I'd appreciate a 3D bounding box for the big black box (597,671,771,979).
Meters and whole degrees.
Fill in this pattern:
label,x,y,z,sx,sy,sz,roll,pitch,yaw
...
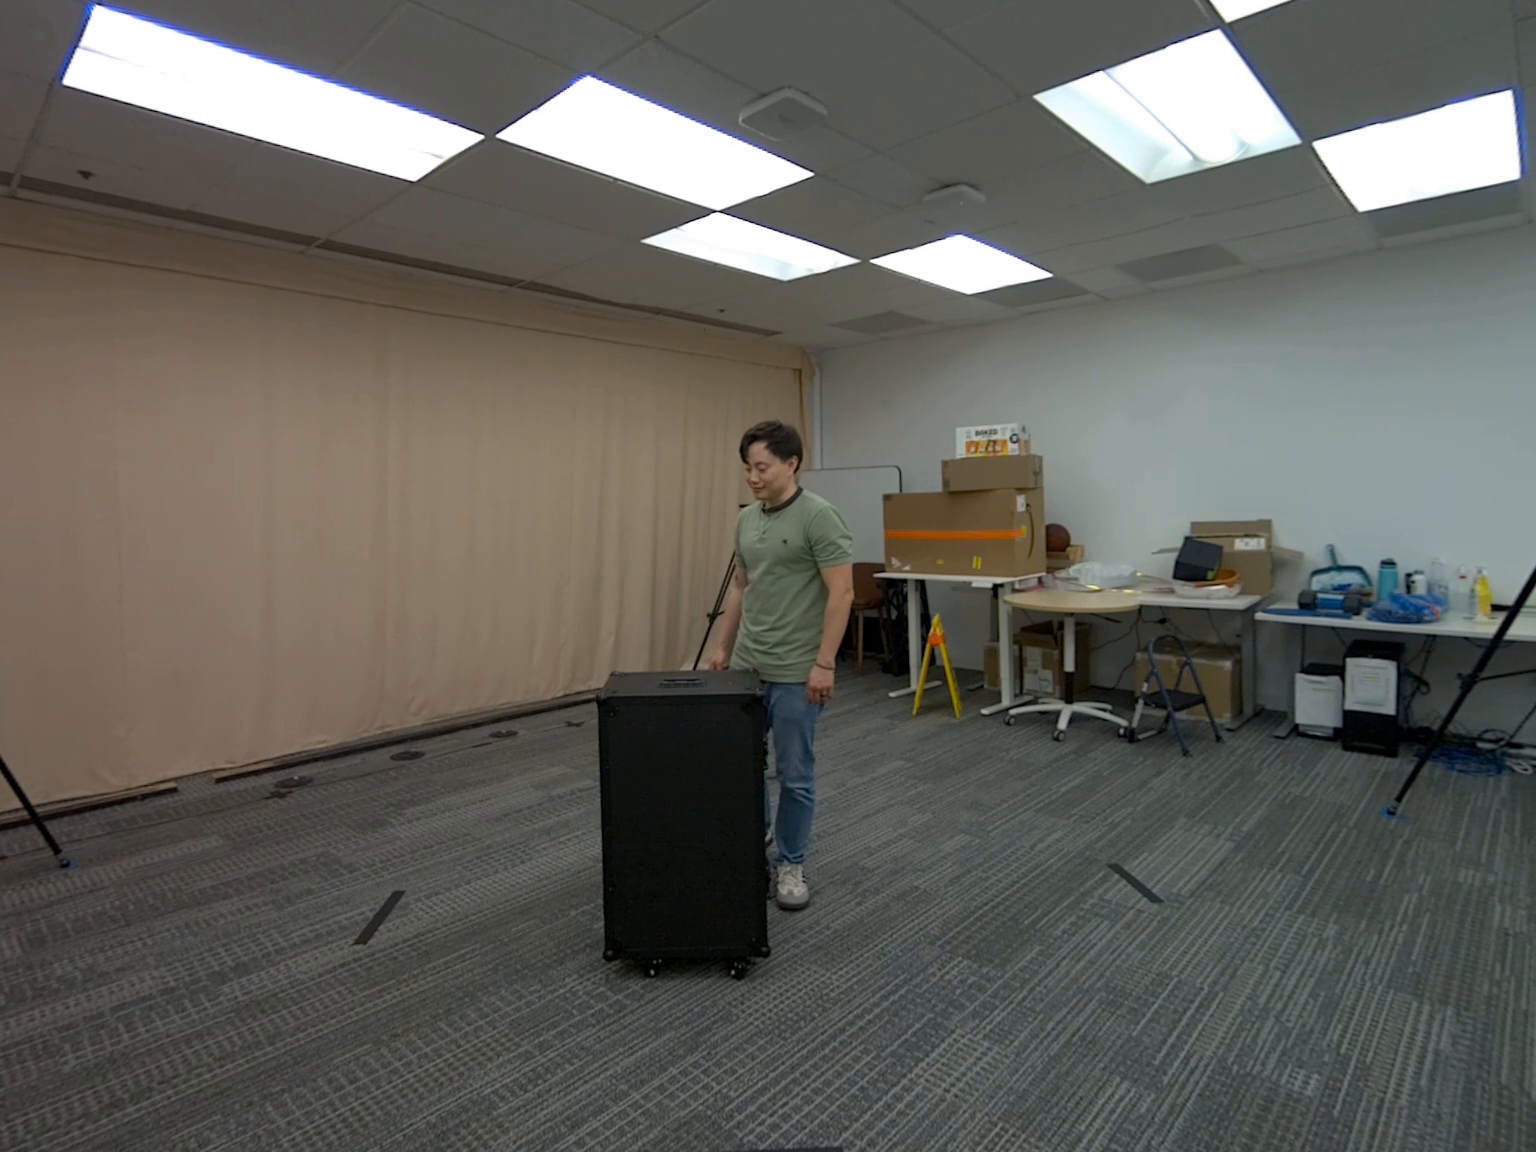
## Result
label,x,y,z,sx,sy,sz,roll,pitch,yaw
big black box,-0.264,0.751,2.621,0.522,0.860,0.396,0,2,1
